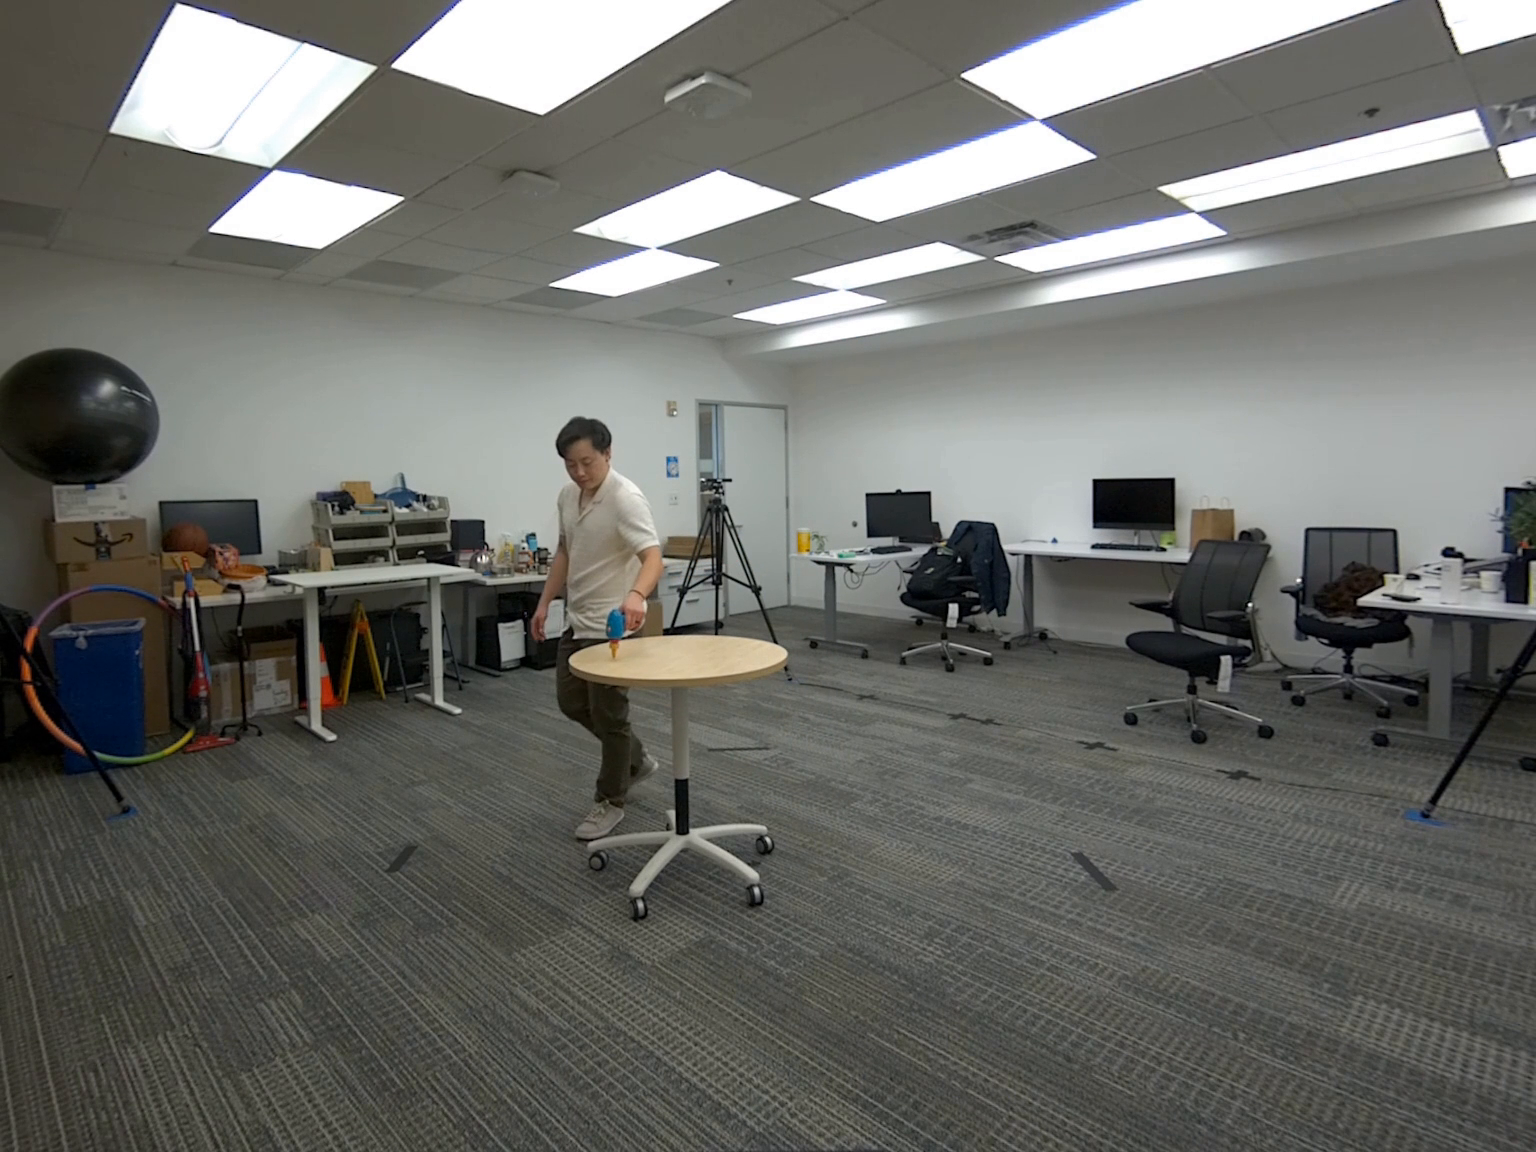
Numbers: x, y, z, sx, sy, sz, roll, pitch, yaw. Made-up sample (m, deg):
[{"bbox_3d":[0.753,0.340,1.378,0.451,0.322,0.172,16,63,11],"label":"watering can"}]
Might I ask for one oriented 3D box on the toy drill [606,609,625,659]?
[{"bbox_3d":[-0.503,0.196,2.946,0.062,0.170,0.142,0,0,27],"label":"toy drill"}]
